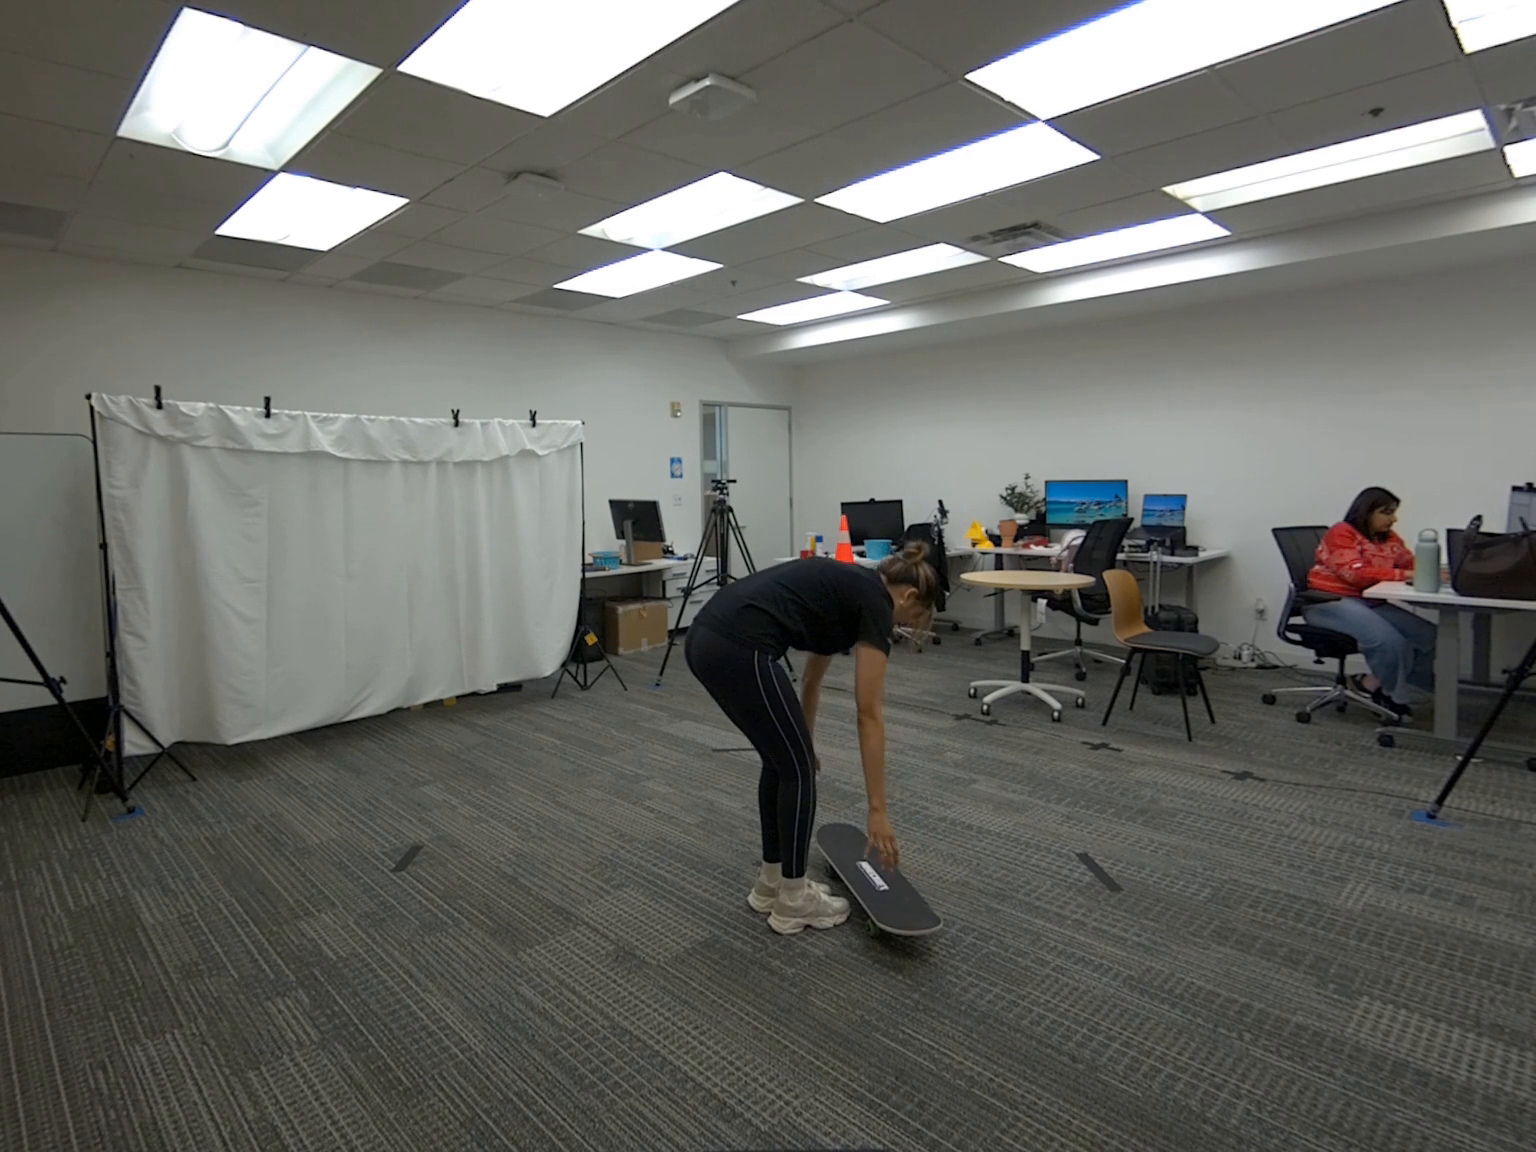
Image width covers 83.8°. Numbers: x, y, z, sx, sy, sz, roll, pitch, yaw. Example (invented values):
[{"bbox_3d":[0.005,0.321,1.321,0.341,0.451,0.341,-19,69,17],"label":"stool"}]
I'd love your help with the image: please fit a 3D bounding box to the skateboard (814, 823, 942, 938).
[{"bbox_3d":[0.348,1.018,2.813,0.191,0.110,0.798,-4,7,-14],"label":"skateboard"}]
